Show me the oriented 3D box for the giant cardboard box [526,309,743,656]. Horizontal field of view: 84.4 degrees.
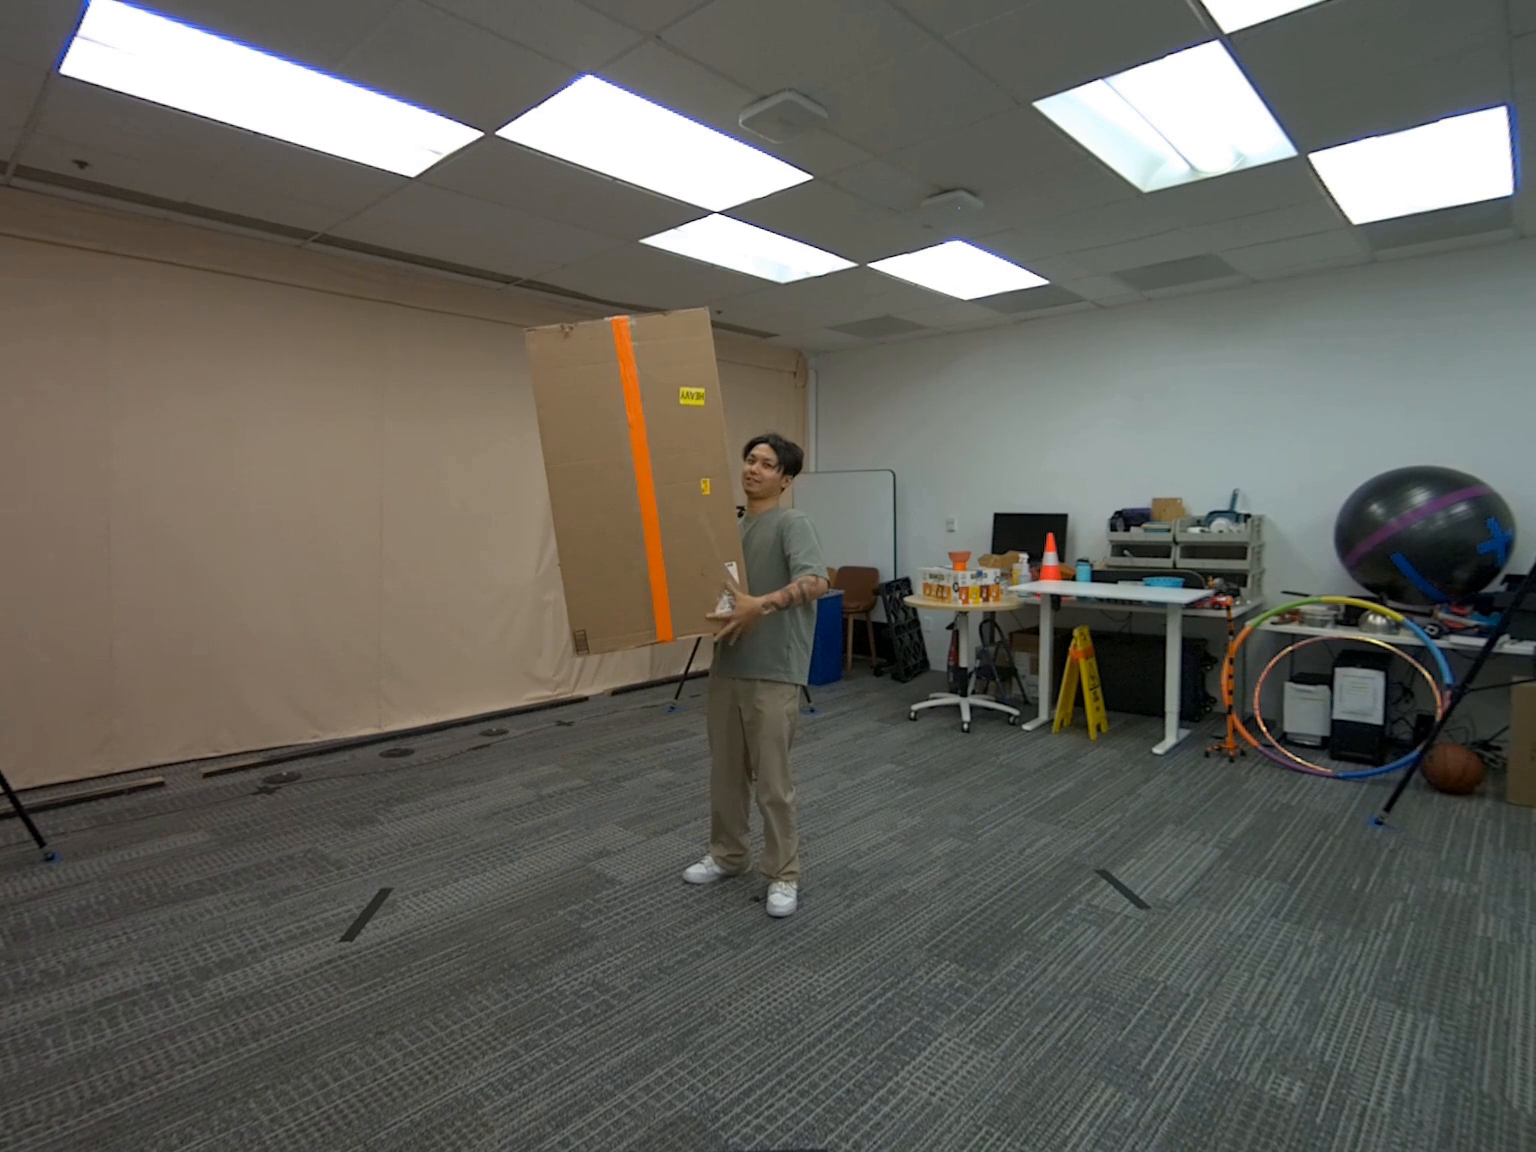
[{"bbox_3d":[-0.437,-0.313,2.823,0.573,1.022,0.431,-9,5,-9],"label":"giant cardboard box"}]
